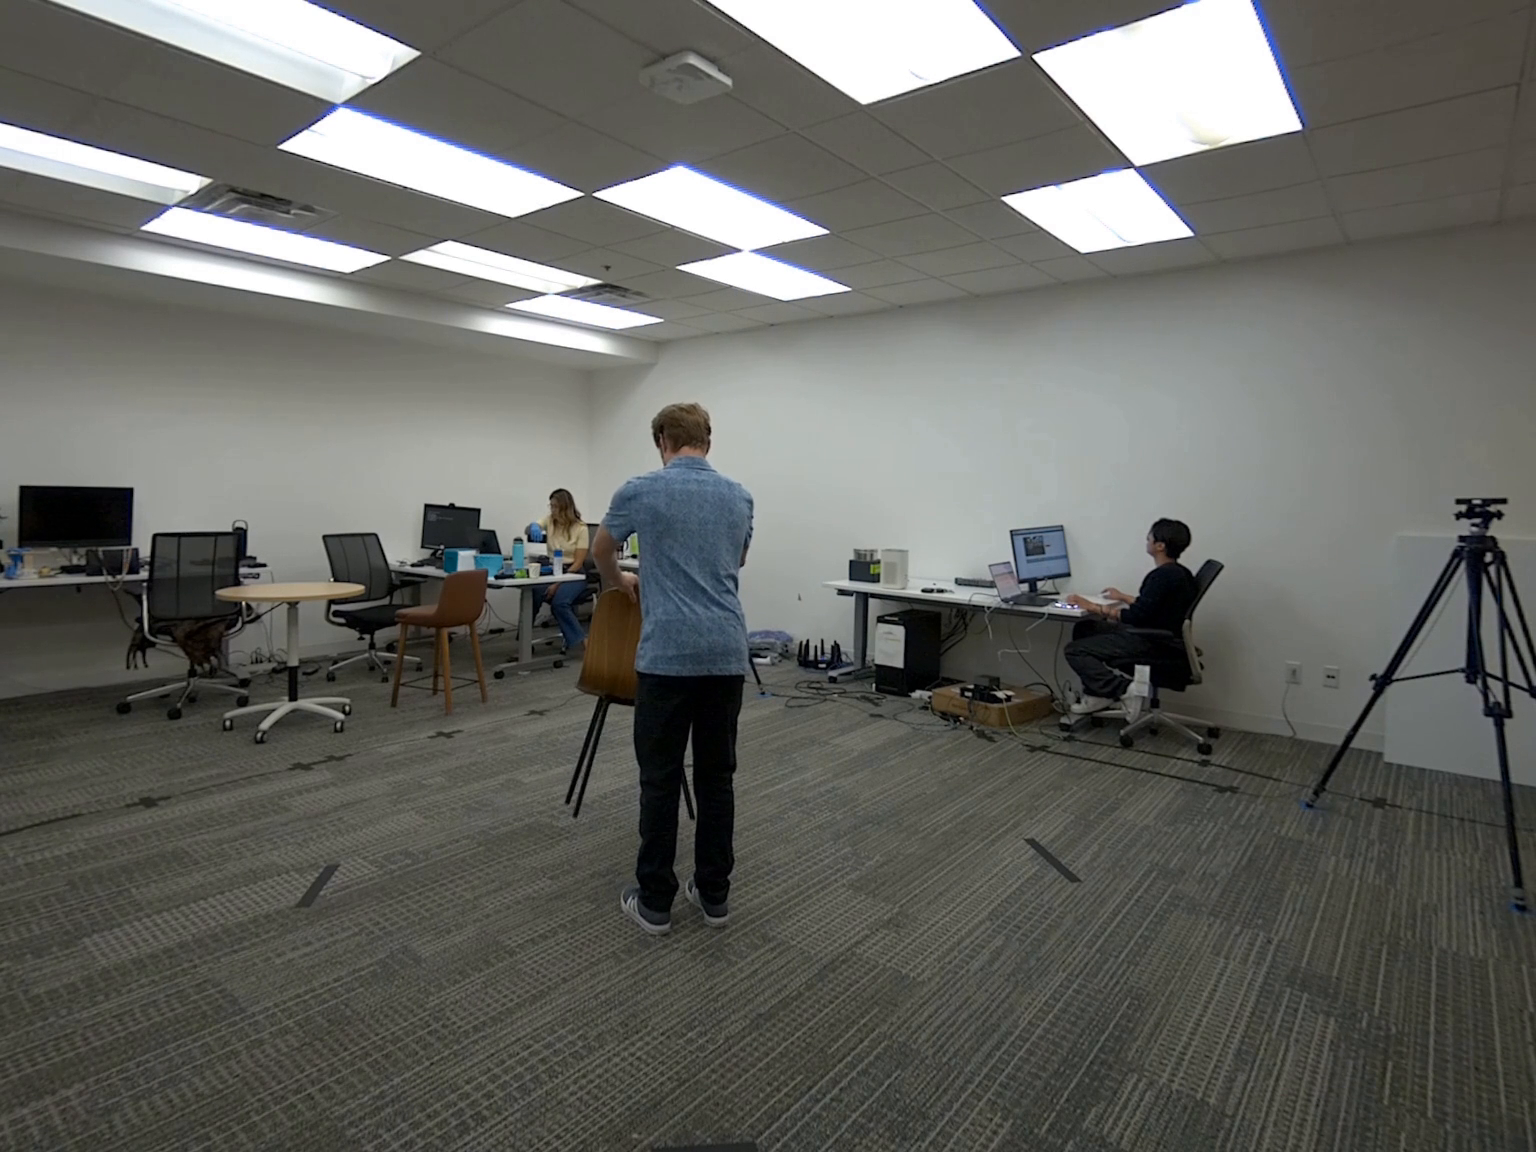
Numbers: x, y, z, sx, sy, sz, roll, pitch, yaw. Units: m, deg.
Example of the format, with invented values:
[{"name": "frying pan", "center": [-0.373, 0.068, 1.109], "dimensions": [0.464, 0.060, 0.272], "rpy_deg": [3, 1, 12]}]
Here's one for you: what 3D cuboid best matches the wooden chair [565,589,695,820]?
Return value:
[{"name": "wooden chair", "center": [-0.553, 0.499, 3.403], "dimensions": [0.471, 0.884, 0.528], "rpy_deg": [5, -8, -15]}]
